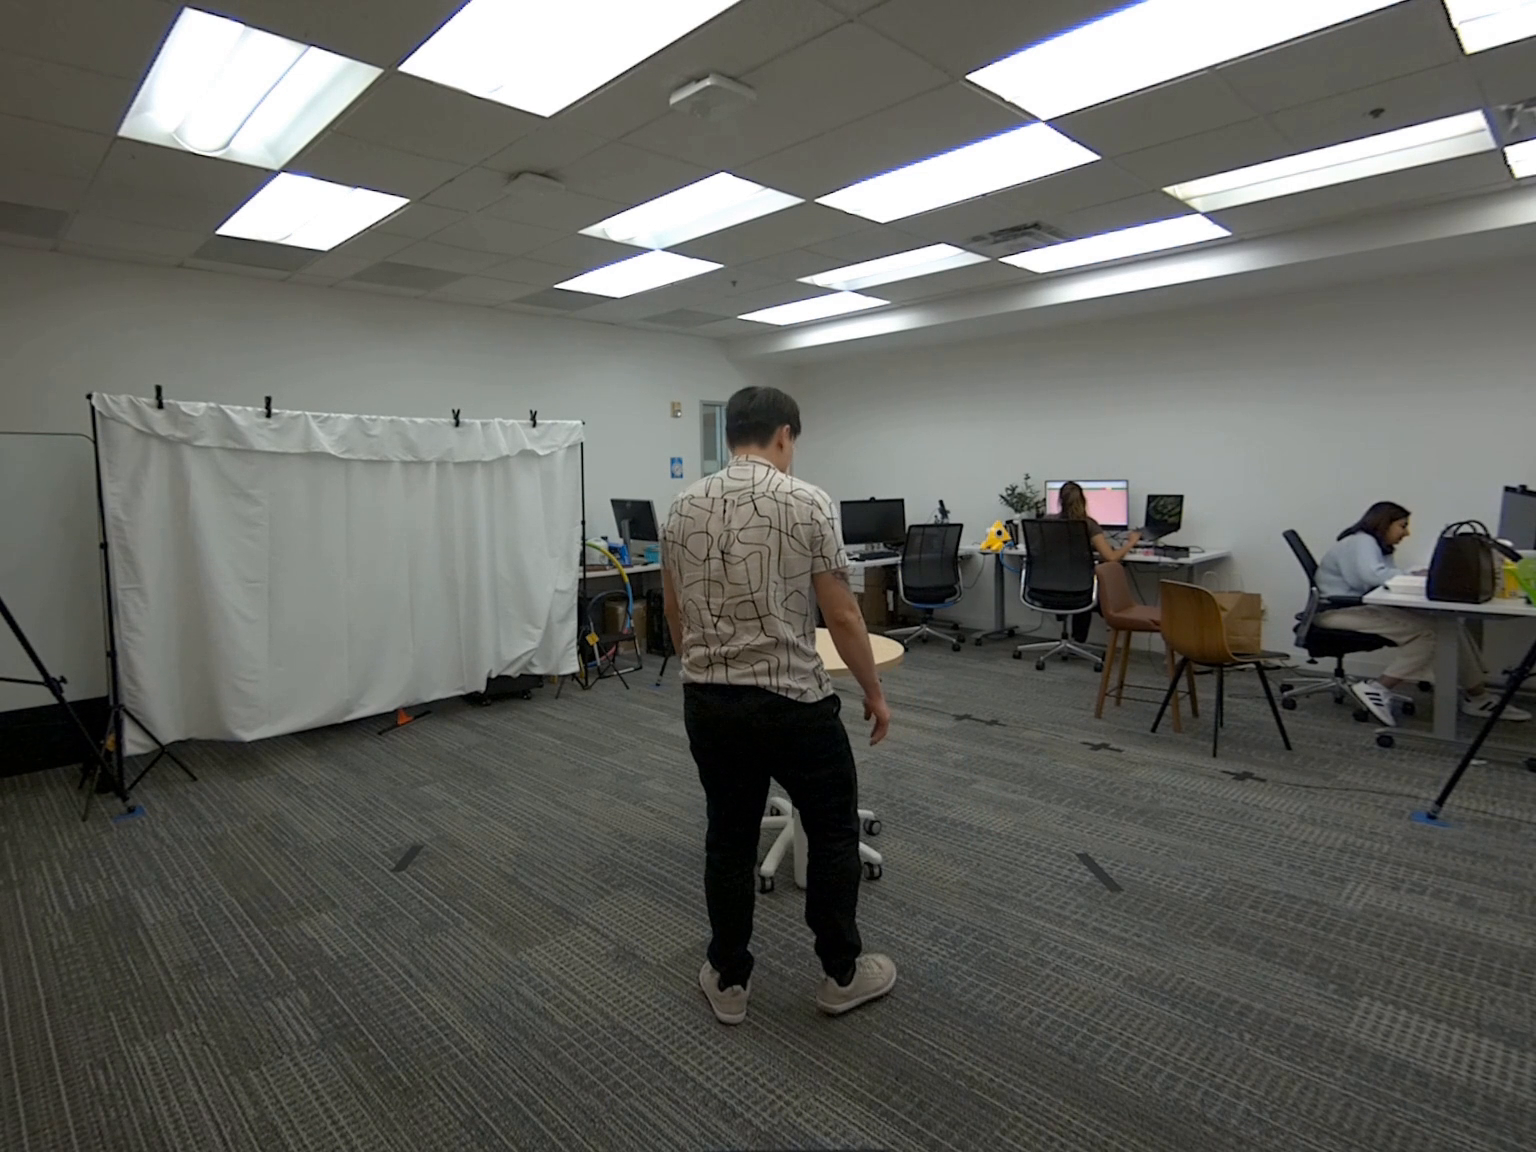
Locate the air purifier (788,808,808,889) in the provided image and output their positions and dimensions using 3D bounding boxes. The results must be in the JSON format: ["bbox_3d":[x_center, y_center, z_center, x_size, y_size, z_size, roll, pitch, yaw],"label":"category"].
[{"bbox_3d":[0.184,0.929,2.953,0.172,0.265,0.171,-1,3,3],"label":"air purifier"}]
